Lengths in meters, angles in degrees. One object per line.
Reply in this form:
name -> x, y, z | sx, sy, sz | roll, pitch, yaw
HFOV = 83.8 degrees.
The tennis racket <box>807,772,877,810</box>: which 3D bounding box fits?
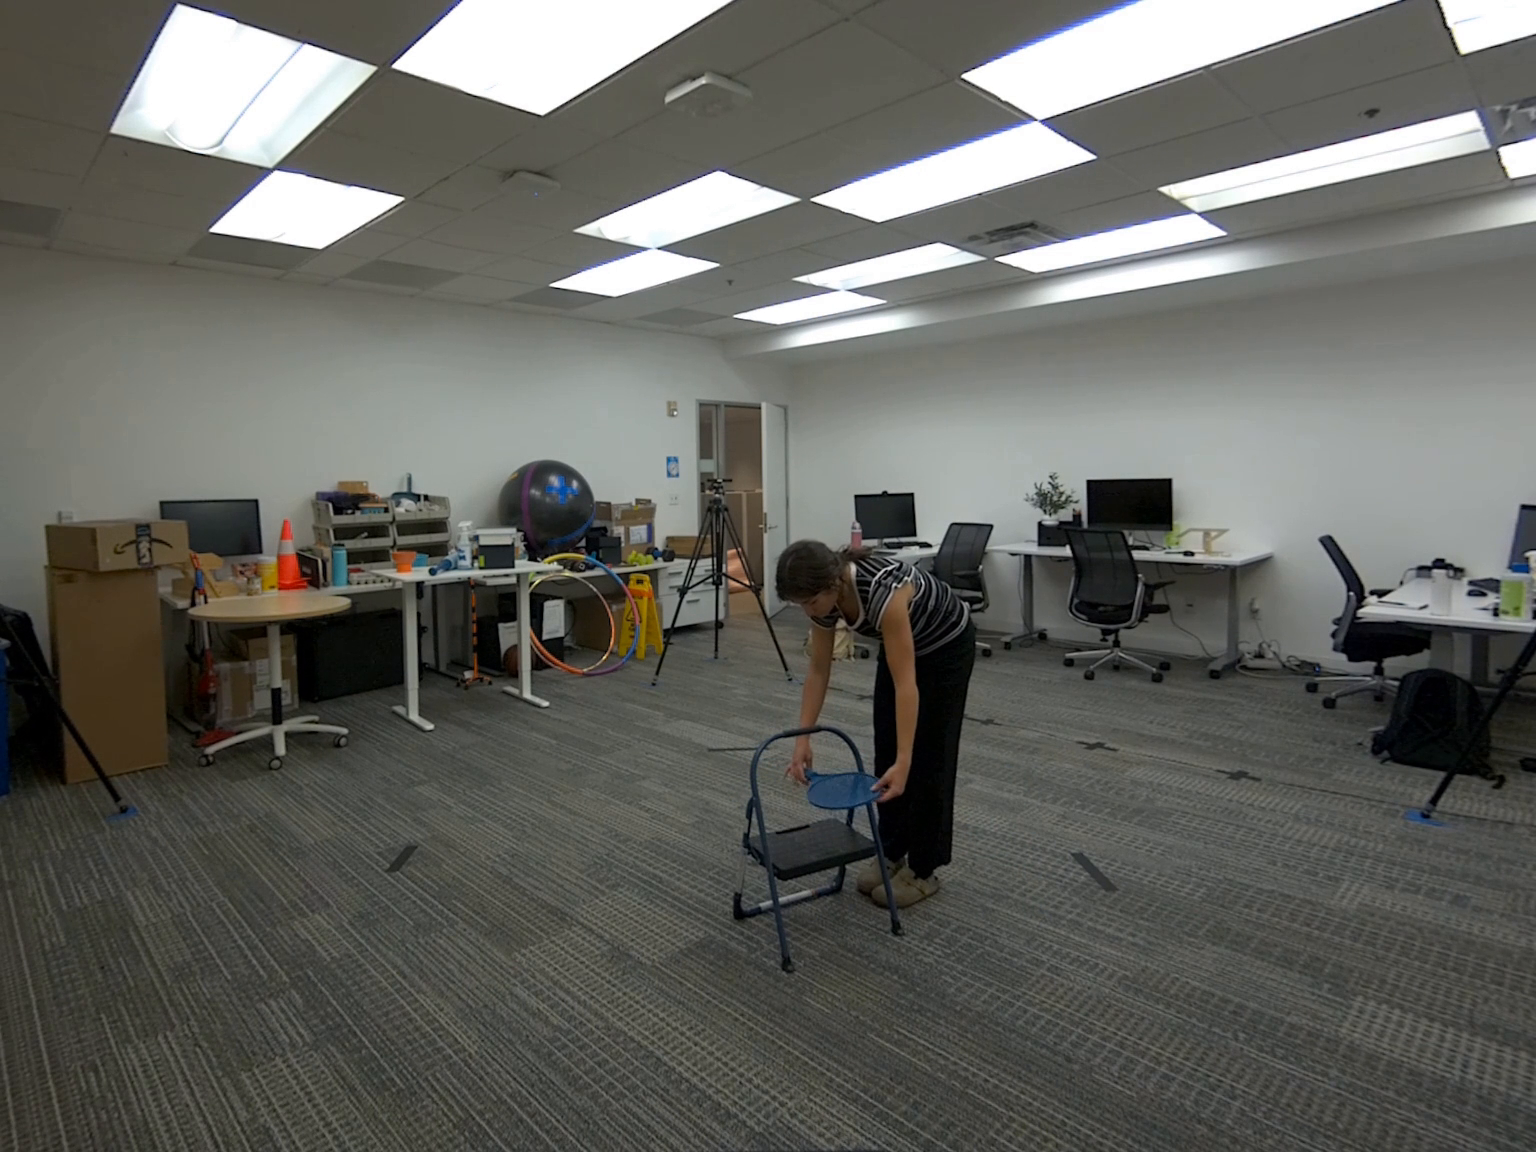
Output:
tennis racket -> 0.195, 0.647, 2.642 | 0.211, 0.031, 0.442 | -19, 9, -23
